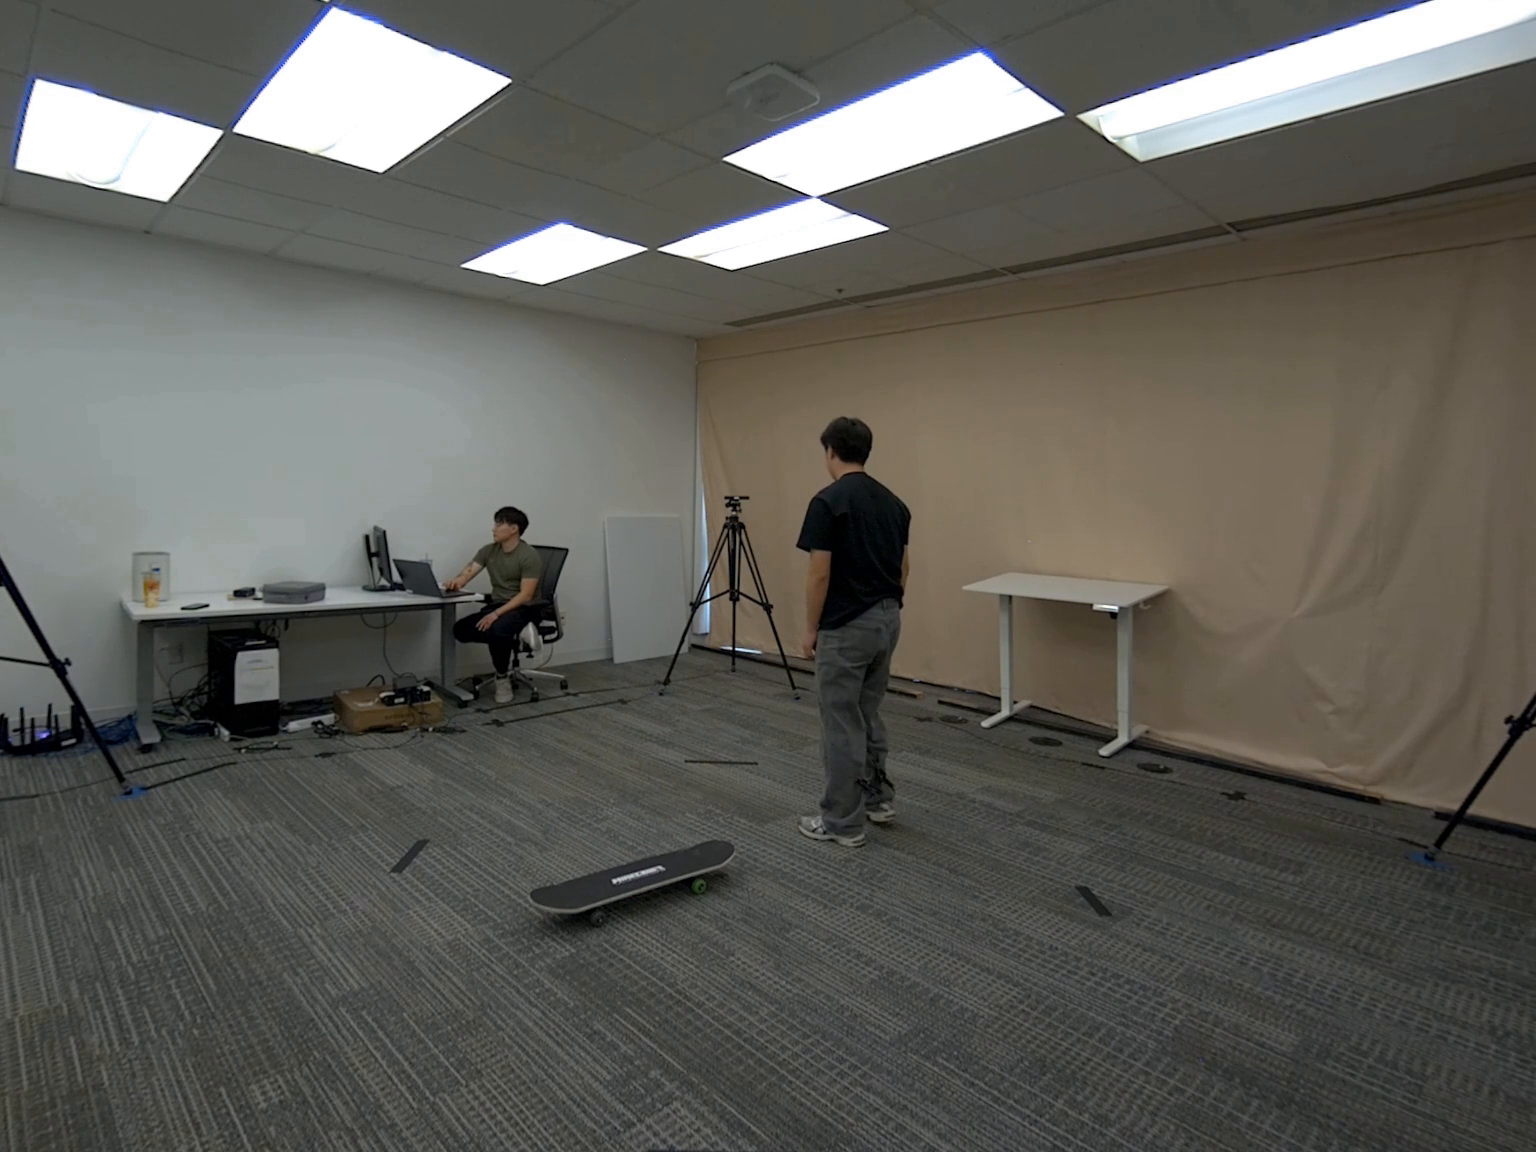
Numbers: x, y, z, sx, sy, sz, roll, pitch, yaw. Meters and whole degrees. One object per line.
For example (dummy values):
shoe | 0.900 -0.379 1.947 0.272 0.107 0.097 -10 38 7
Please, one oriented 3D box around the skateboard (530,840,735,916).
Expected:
skateboard | -0.449 1.059 2.890 0.768 0.110 0.198 -3 7 -38
